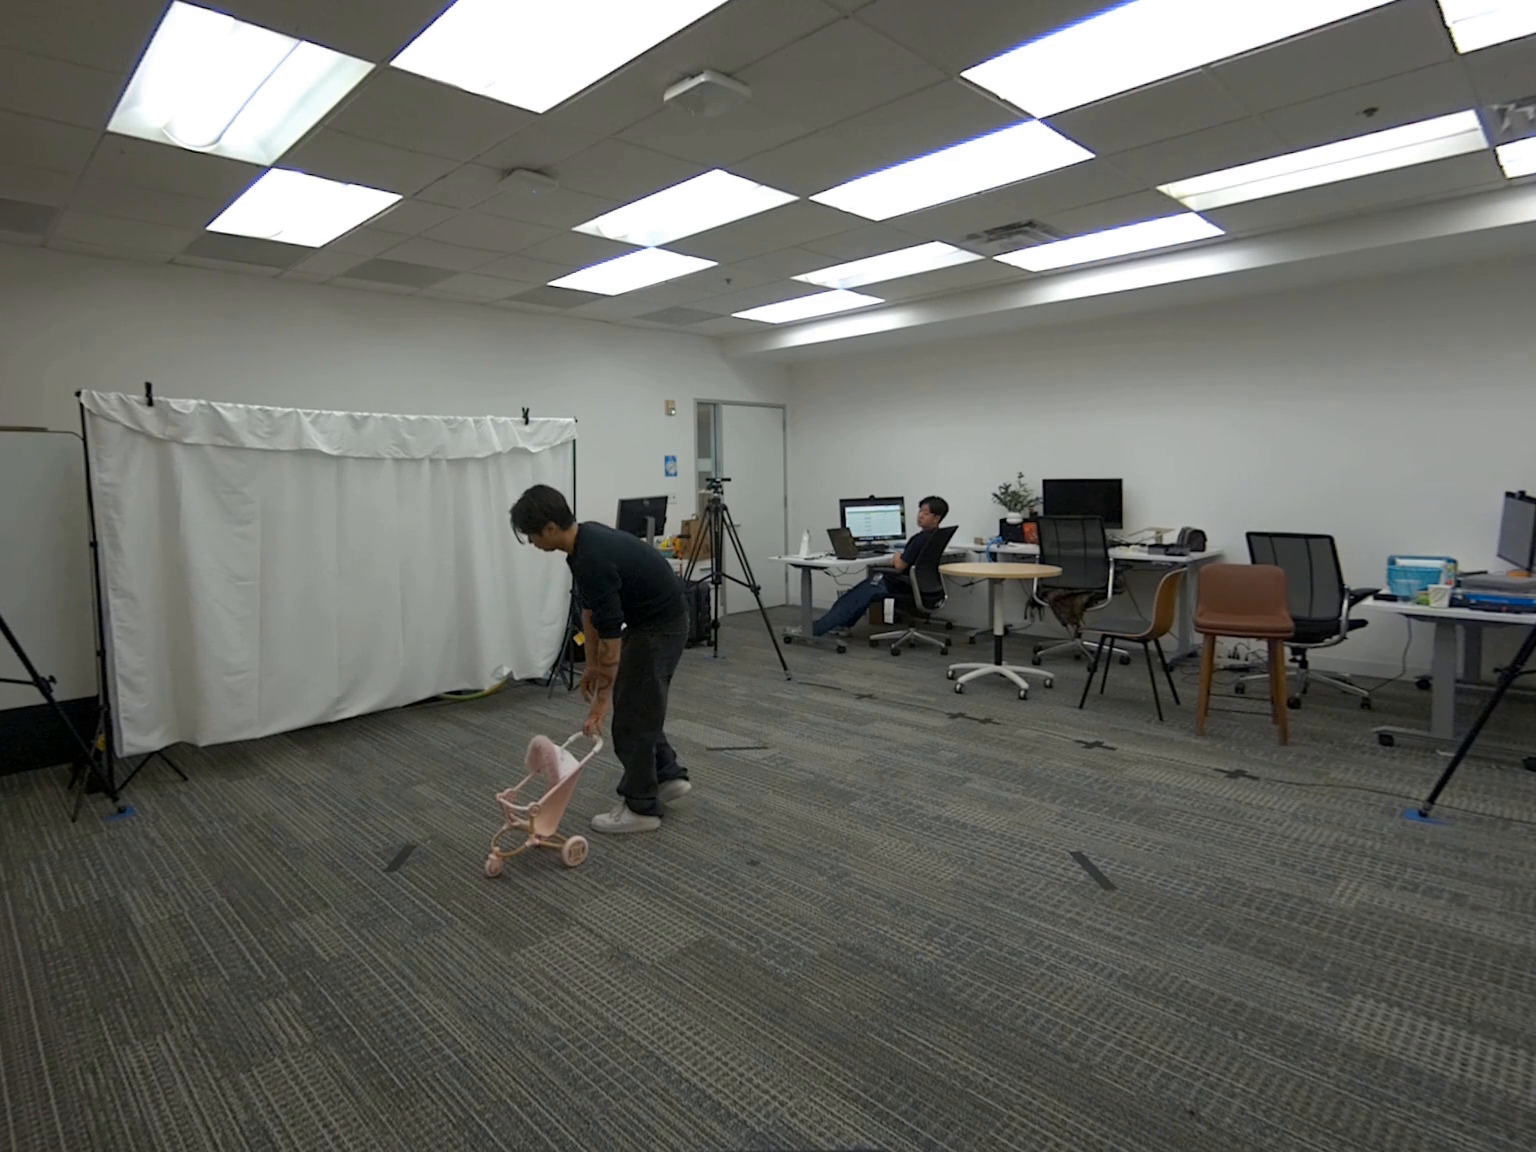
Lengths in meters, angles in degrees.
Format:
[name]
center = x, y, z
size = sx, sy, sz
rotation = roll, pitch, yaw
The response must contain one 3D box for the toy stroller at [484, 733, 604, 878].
[toy stroller]
center = -0.838, 0.826, 3.149
size = 0.330, 0.537, 0.290
rotation = 16, -8, -37
